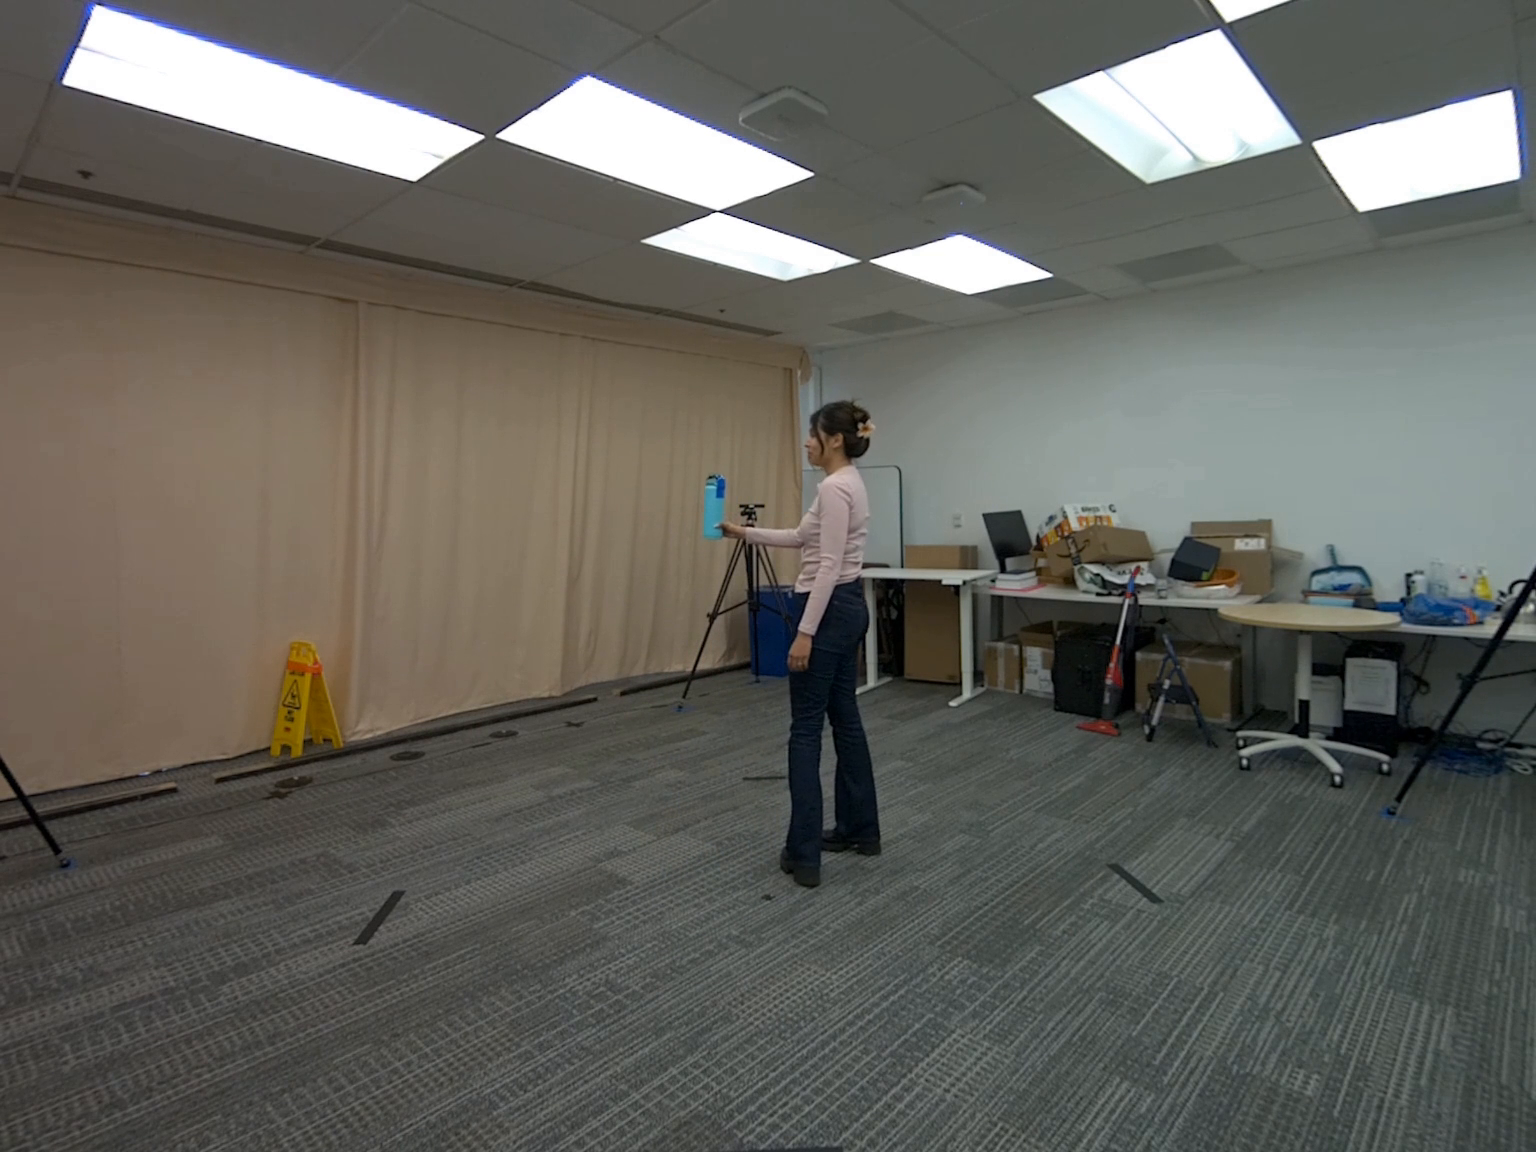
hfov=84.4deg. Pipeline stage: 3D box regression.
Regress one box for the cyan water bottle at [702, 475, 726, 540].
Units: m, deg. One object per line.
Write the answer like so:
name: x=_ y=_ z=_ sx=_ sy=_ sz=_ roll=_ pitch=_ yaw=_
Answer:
cyan water bottle: x=-0.223 y=-0.305 z=3.627 sx=0.092 sy=0.282 sz=0.093 roll=2 pitch=4 yaw=-2
